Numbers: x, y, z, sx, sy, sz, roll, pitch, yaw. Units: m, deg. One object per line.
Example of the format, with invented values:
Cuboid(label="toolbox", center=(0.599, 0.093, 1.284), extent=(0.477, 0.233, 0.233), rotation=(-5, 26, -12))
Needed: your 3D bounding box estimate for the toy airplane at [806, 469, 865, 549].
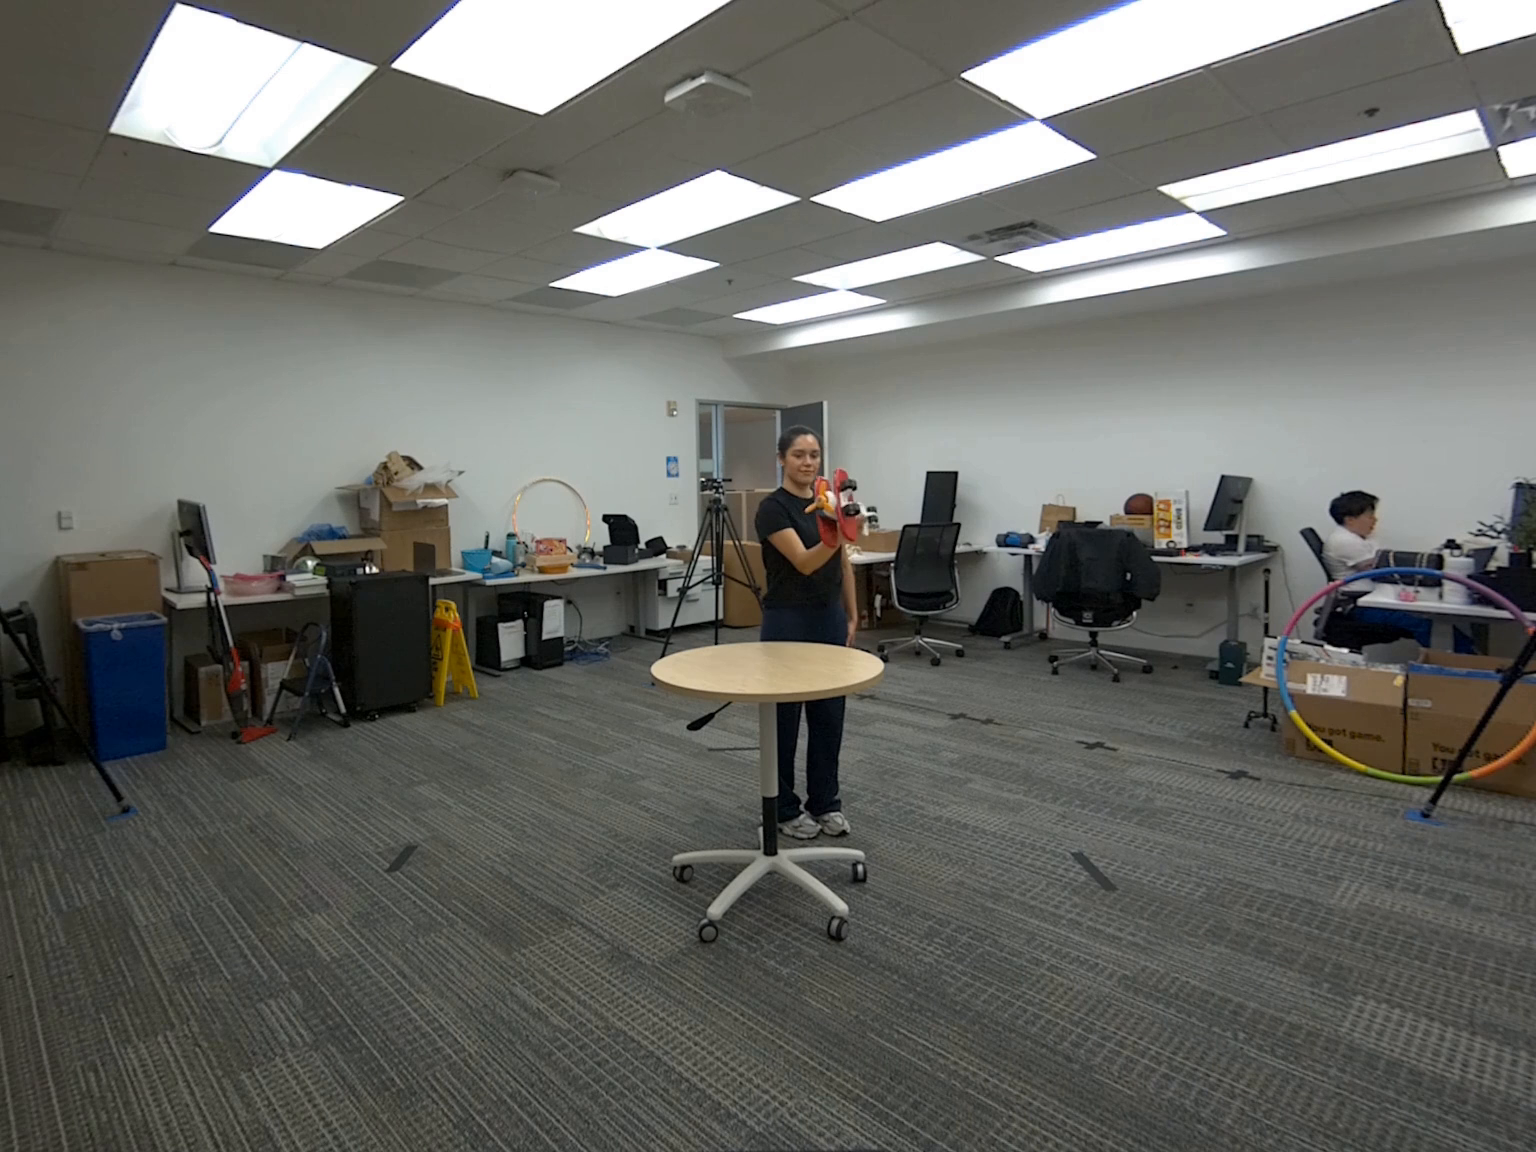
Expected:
Cuboid(label="toy airplane", center=(0.243, -0.193, 2.857), extent=(0.159, 0.250, 0.256), rotation=(-15, 39, 25))
